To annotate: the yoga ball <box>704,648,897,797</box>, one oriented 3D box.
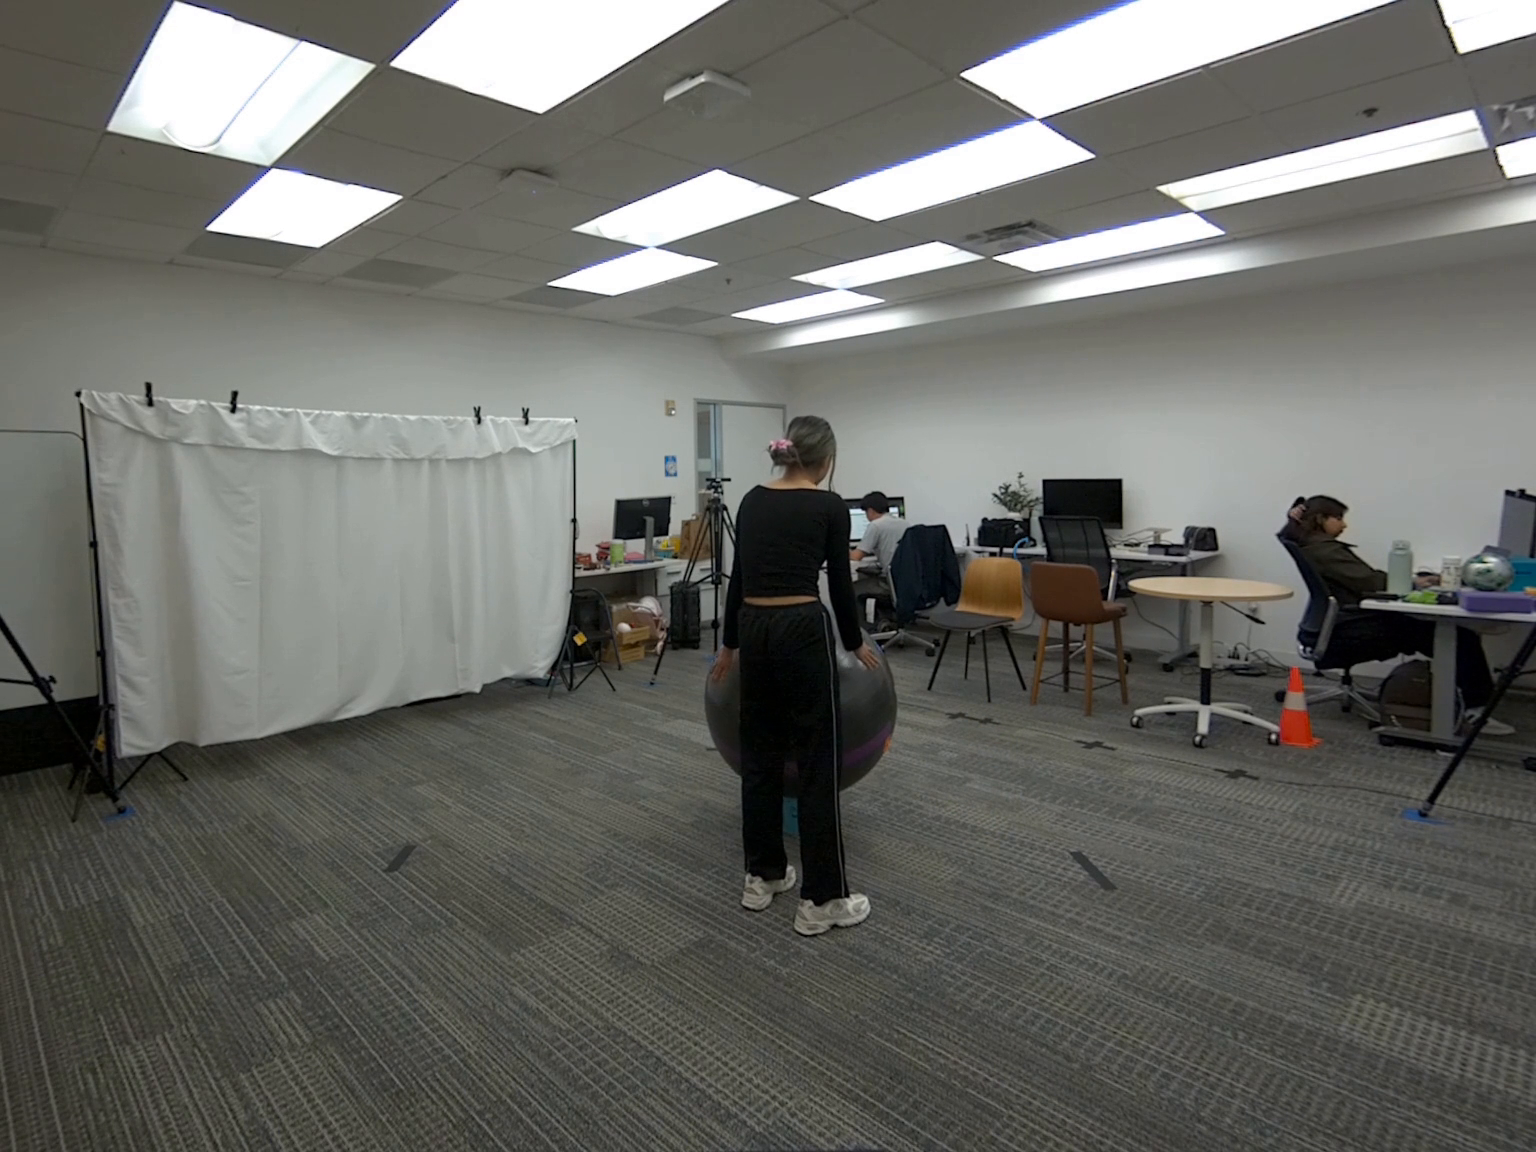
[{"bbox_3d":[0.129,0.495,3.397,0.757,0.755,0.762,-1,5,-2],"label":"yoga ball"}]
